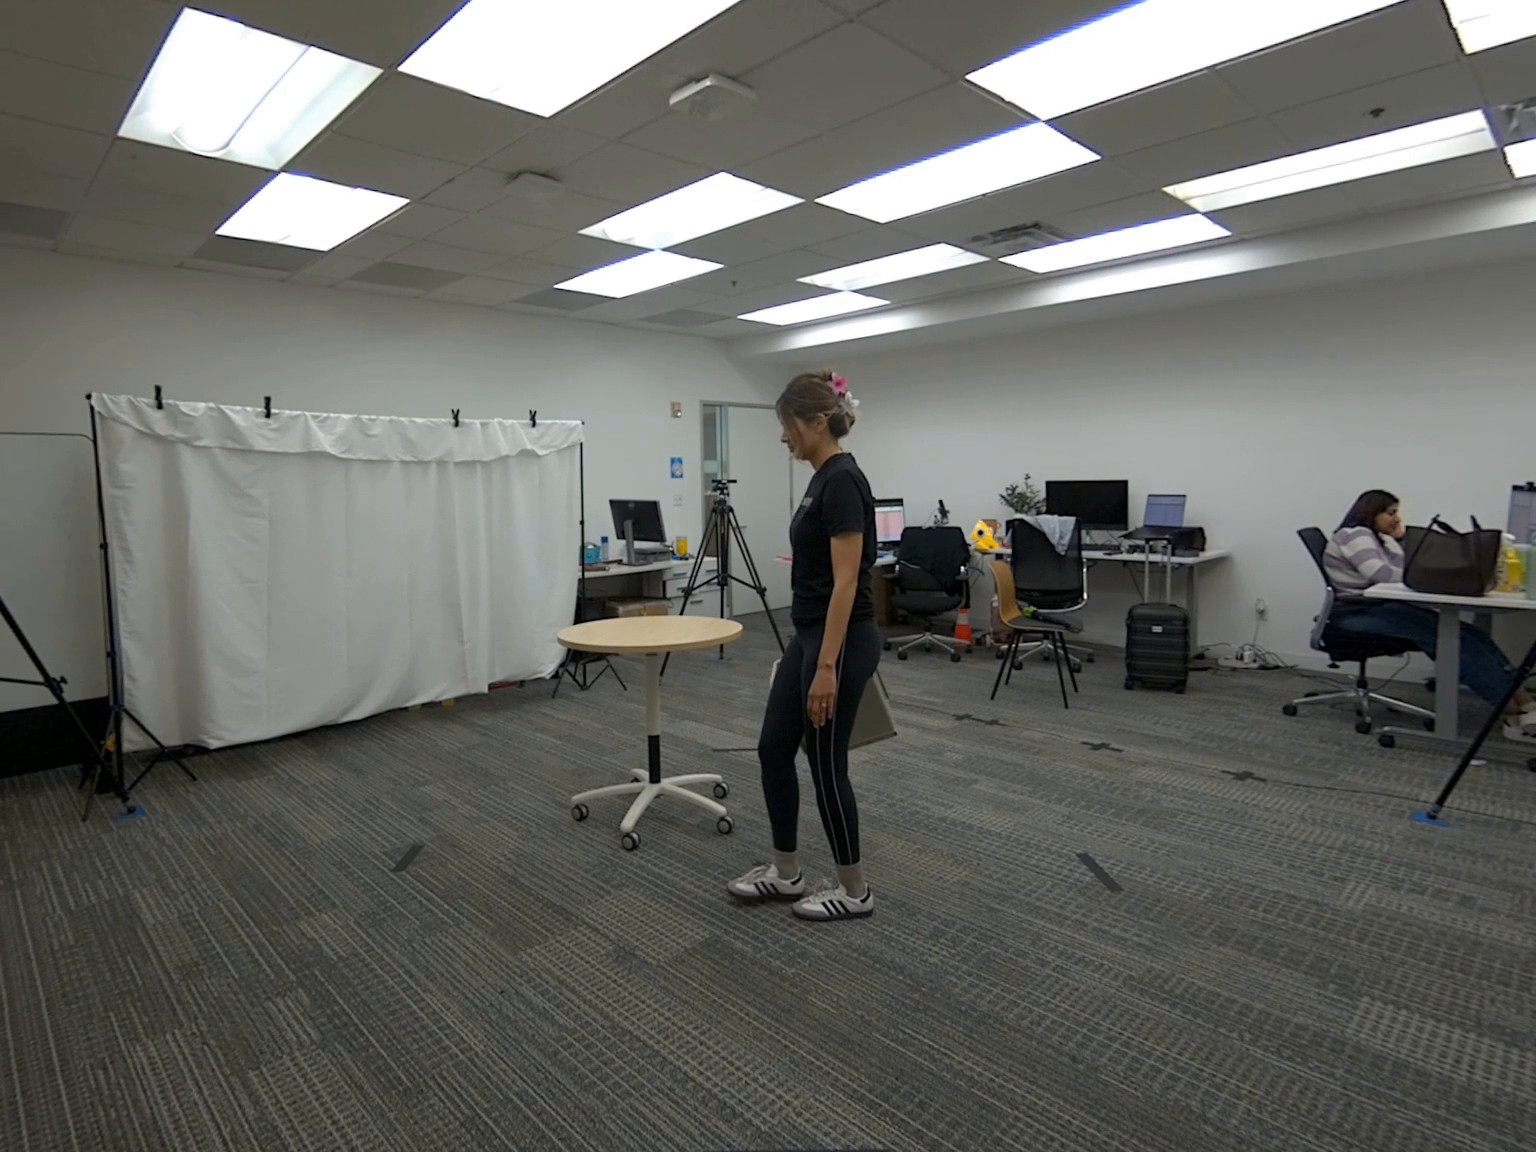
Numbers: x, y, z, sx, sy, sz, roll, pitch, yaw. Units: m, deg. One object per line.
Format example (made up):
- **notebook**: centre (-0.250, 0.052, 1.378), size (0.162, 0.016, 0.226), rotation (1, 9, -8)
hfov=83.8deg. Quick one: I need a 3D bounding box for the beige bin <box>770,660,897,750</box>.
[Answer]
- **beige bin**: centre (0.249, 0.462, 3.185), size (0.380, 0.407, 0.194), rotation (-17, 39, 10)
